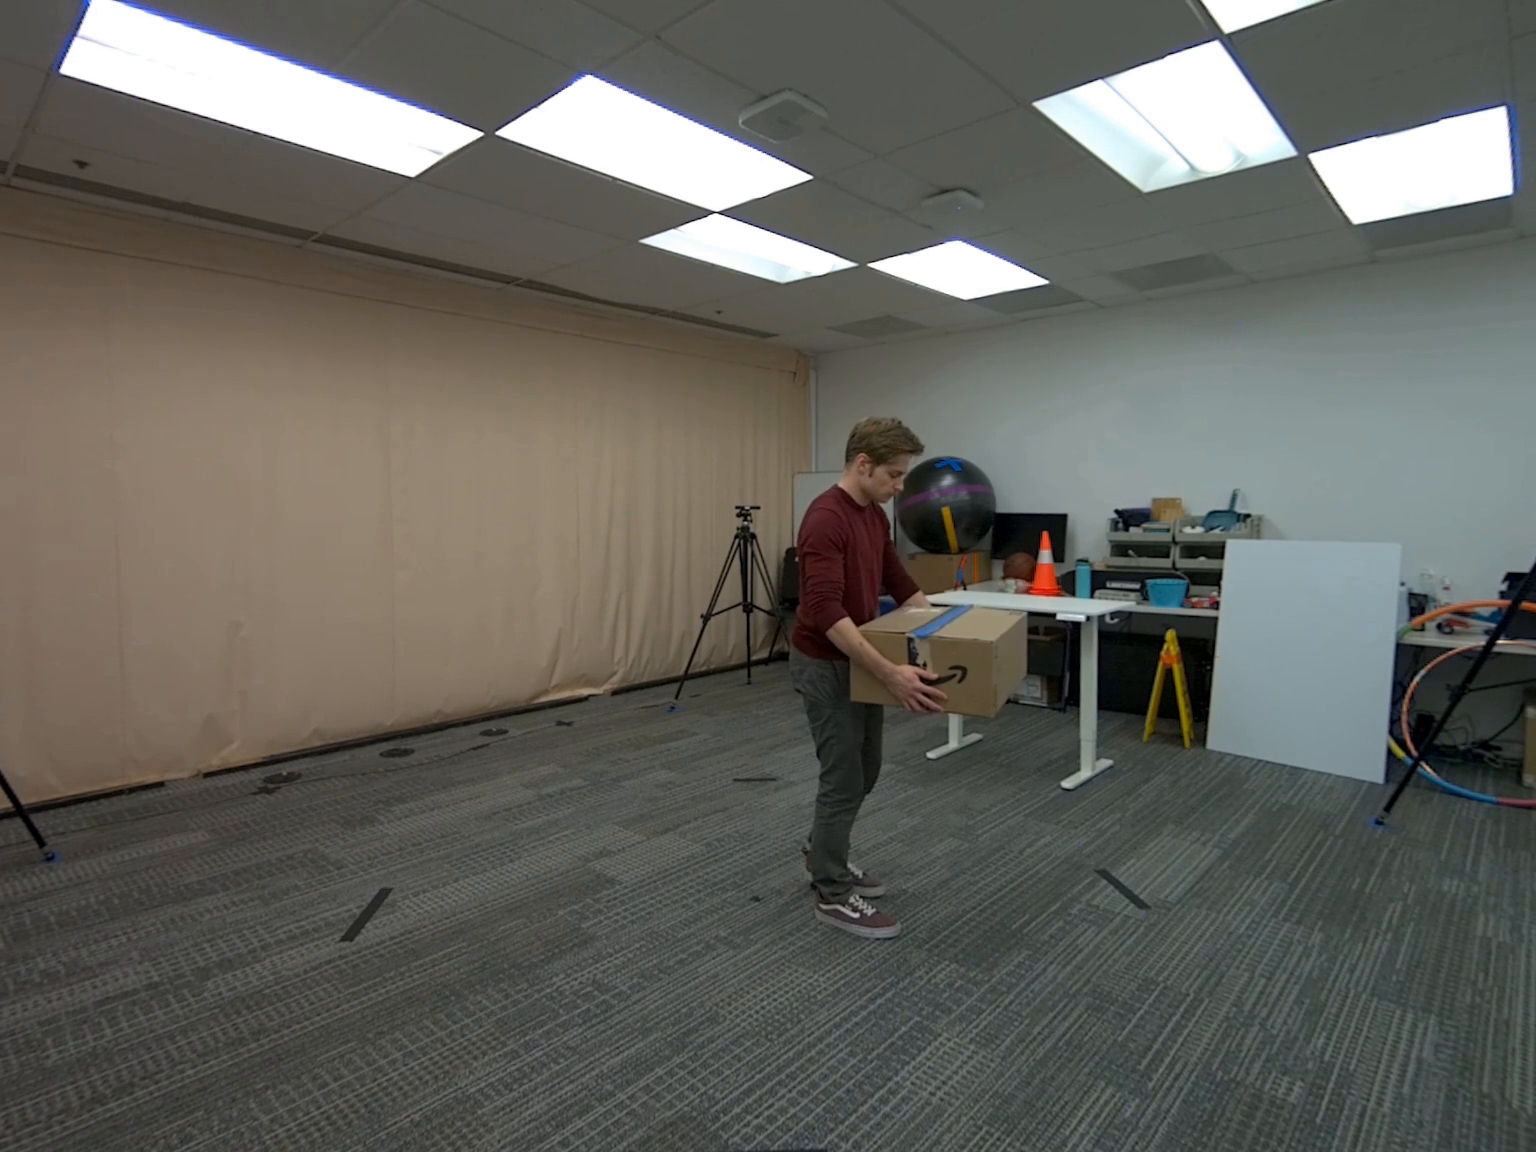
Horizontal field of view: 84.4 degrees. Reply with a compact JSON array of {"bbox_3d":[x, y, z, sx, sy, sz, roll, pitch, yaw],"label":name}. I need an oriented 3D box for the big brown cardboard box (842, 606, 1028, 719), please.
[{"bbox_3d":[0.560,0.245,2.646,0.429,0.232,0.576,1,8,27],"label":"big brown cardboard box"}]
